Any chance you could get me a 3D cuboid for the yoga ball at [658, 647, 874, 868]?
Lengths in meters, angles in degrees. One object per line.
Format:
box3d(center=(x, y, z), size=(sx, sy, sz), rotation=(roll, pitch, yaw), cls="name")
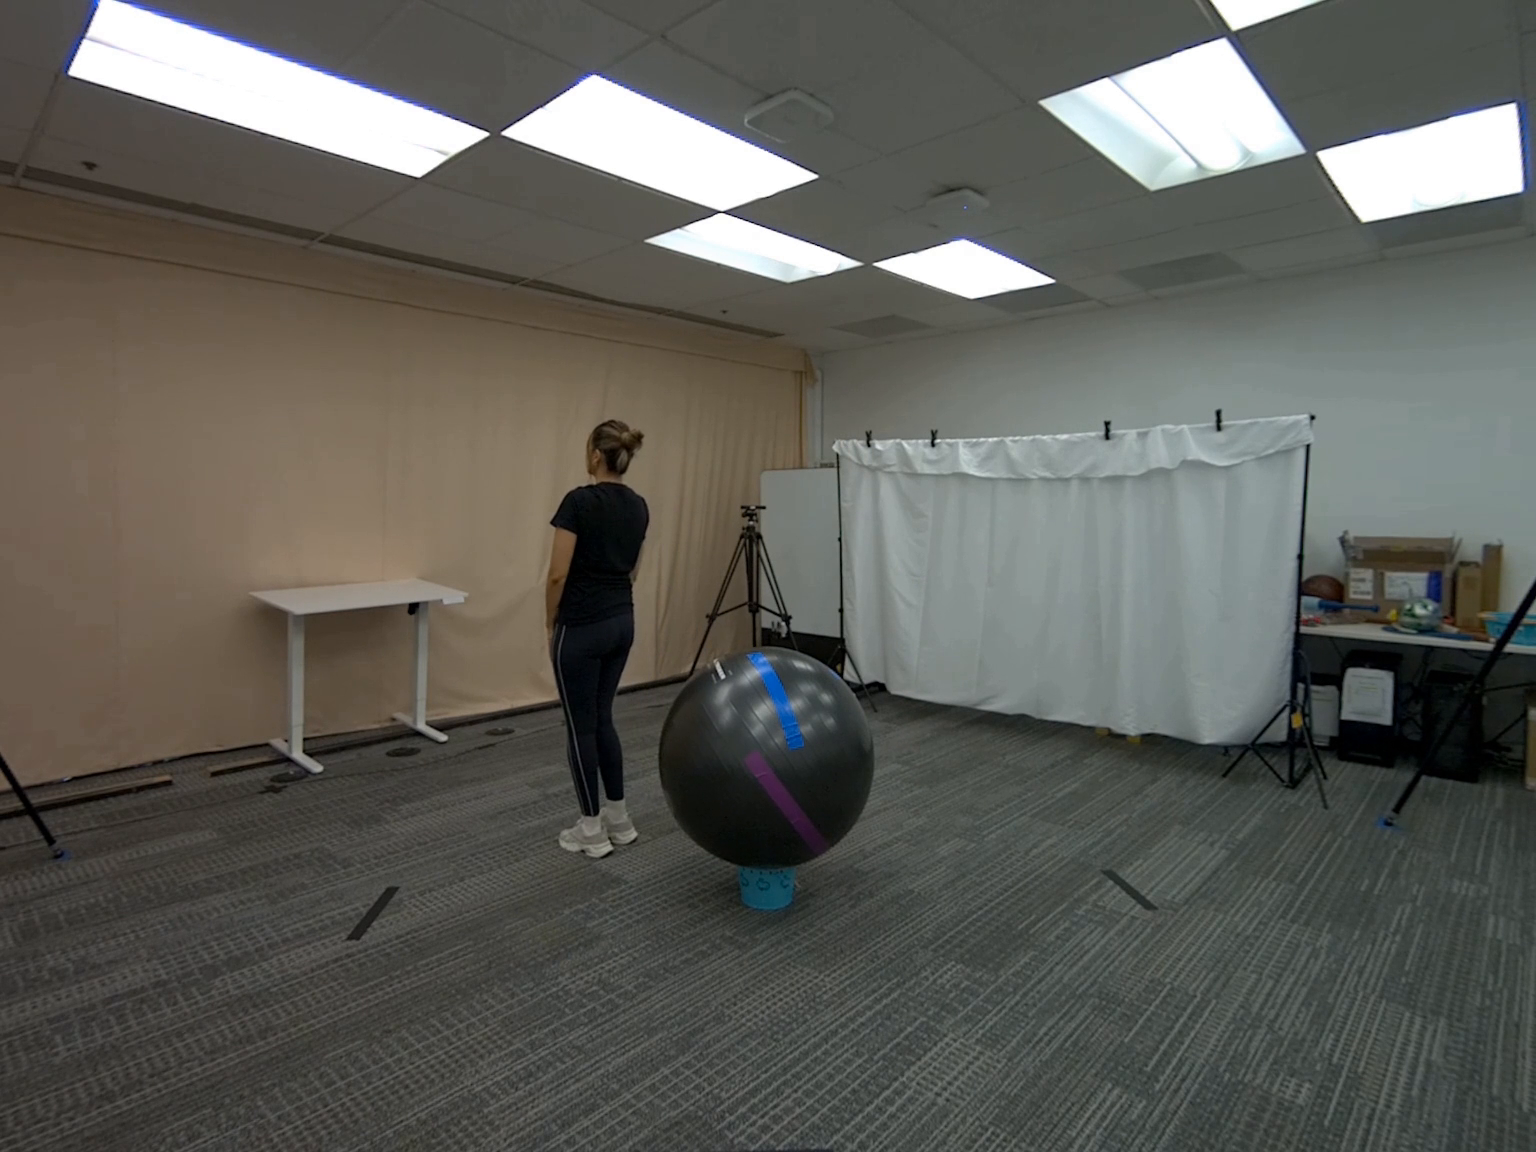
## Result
box3d(center=(-0.001, 0.634, 2.967), size=(0.757, 0.756, 0.760), rotation=(0, 4, -2), cls="yoga ball")
